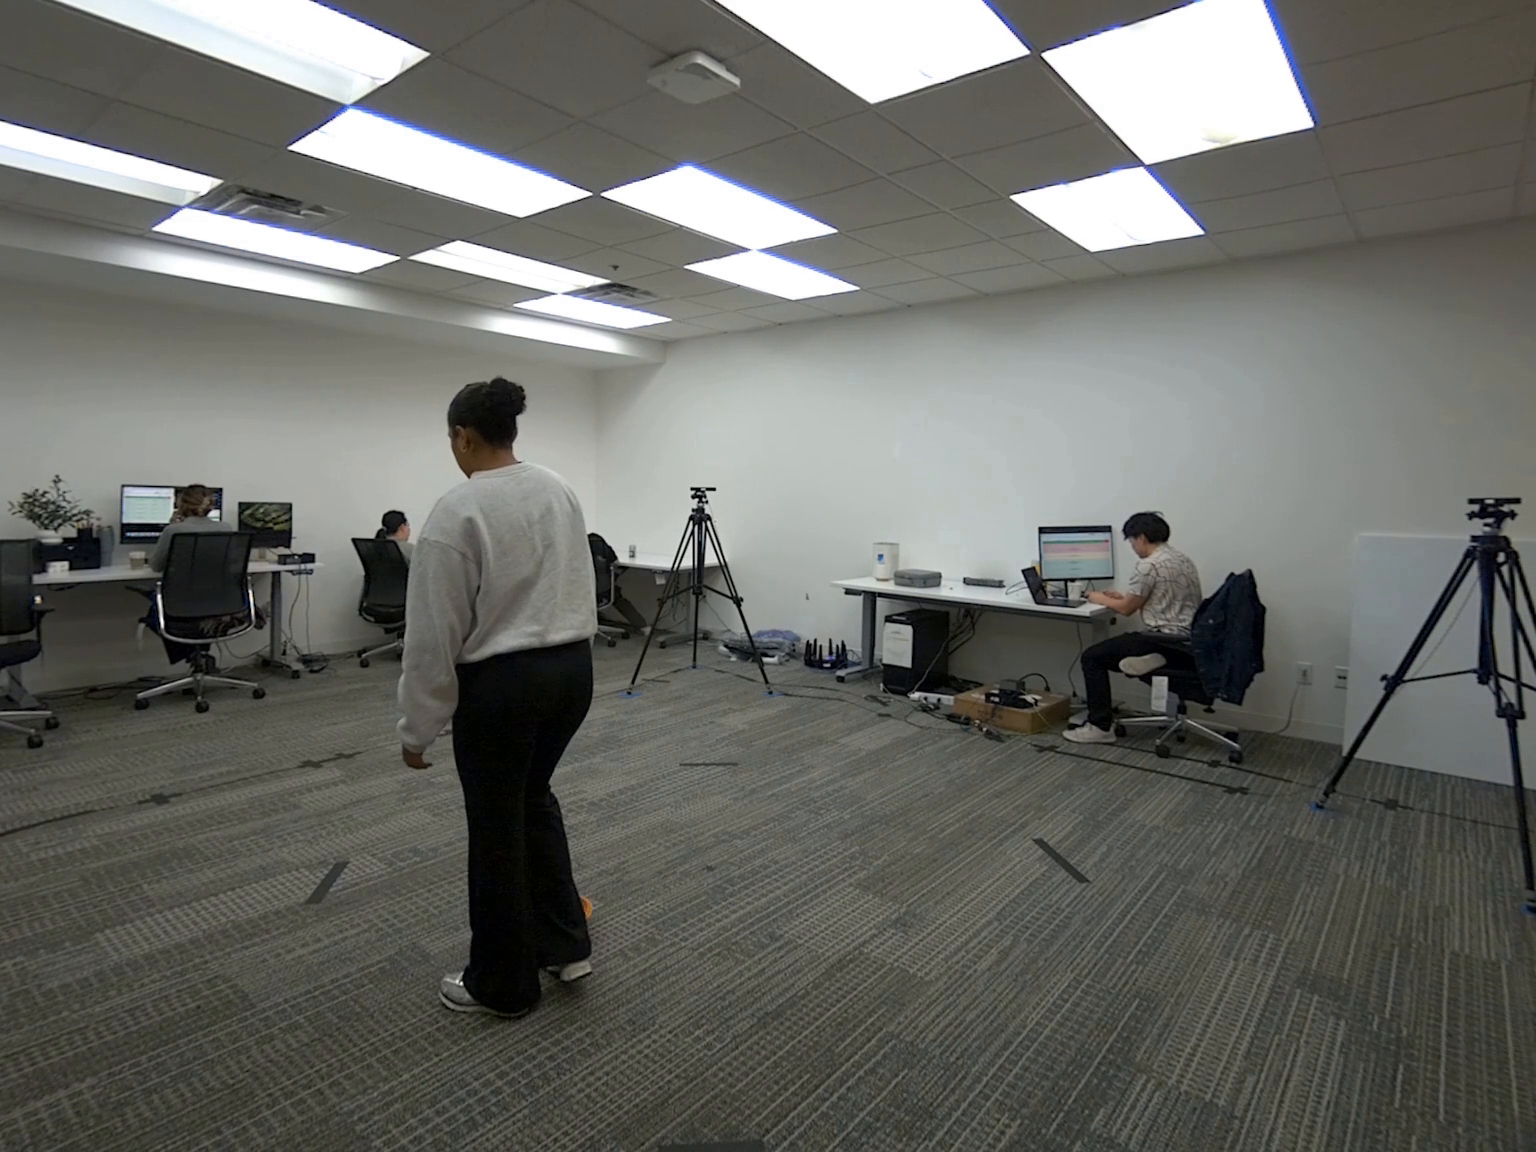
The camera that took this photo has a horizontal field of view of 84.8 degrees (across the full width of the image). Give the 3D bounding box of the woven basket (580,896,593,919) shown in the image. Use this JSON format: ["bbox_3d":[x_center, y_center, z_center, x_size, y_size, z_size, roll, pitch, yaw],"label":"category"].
[{"bbox_3d":[-0.721,1.062,2.628,0.261,0.073,0.340,5,6,39],"label":"woven basket"}]
